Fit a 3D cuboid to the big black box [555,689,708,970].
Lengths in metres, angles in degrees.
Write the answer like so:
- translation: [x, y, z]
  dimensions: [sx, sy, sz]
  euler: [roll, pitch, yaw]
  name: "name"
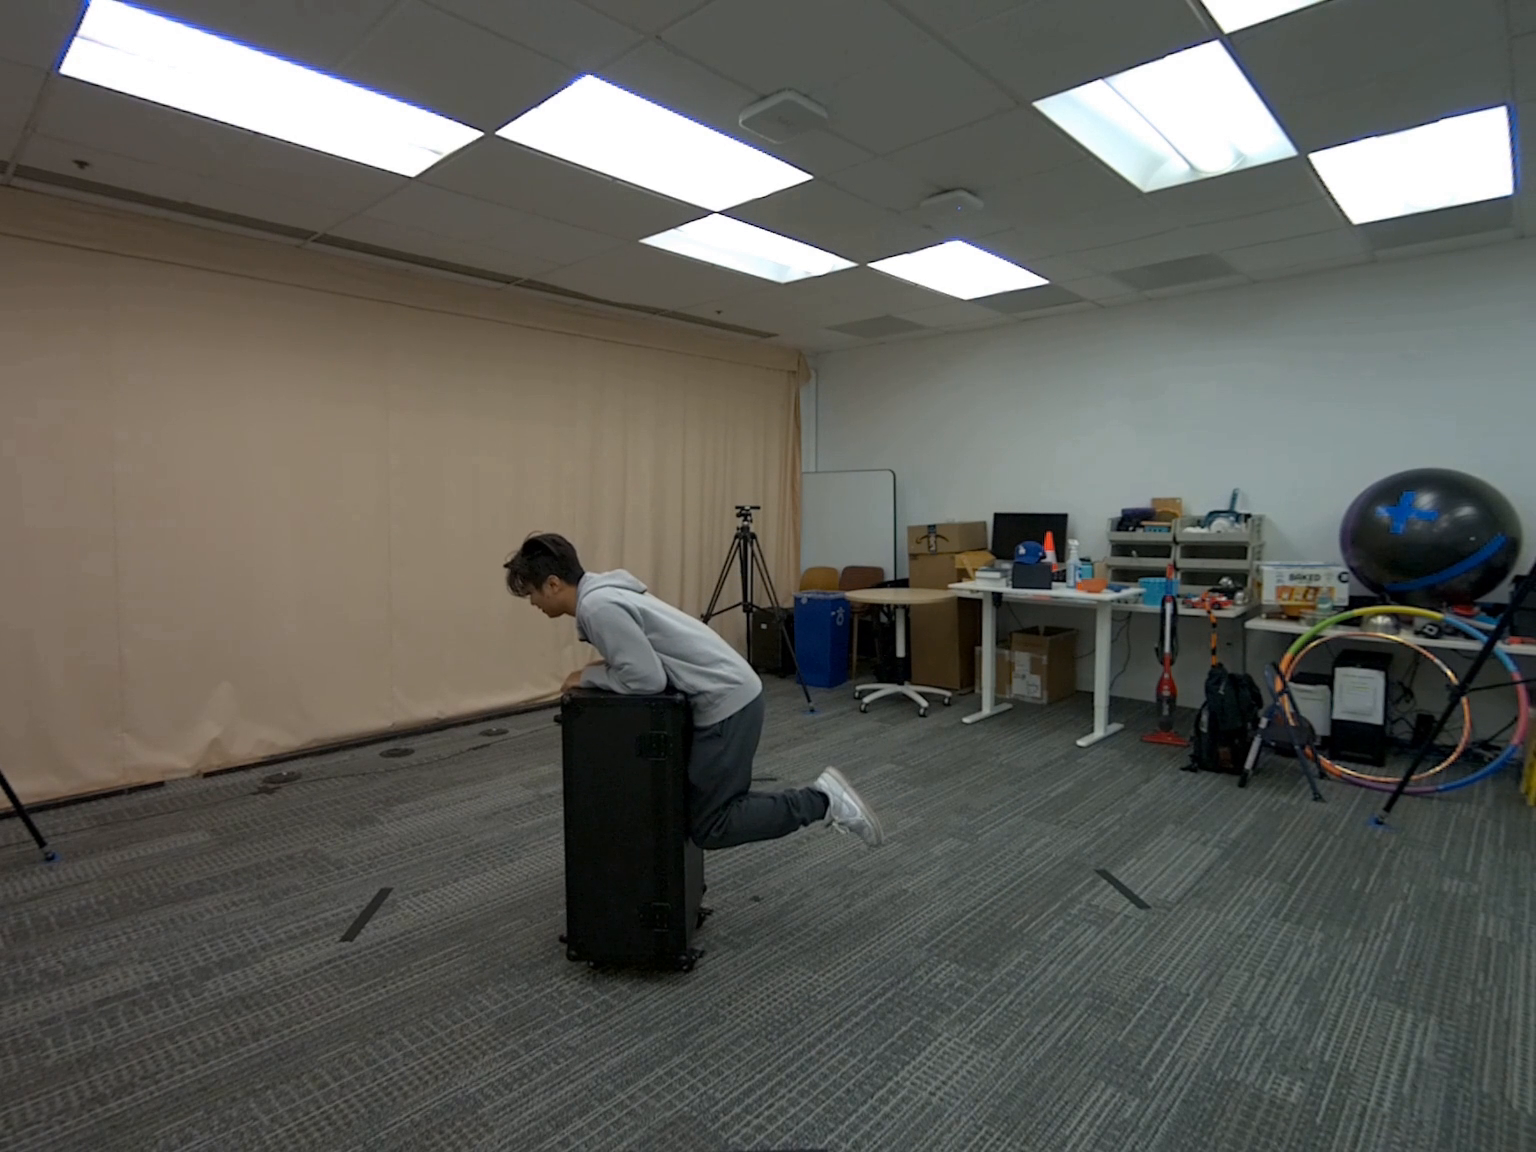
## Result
- translation: [-0.412, 0.756, 2.651]
  dimensions: [0.398, 0.859, 0.520]
  euler: [-1, 3, 3]
  name: "big black box"
